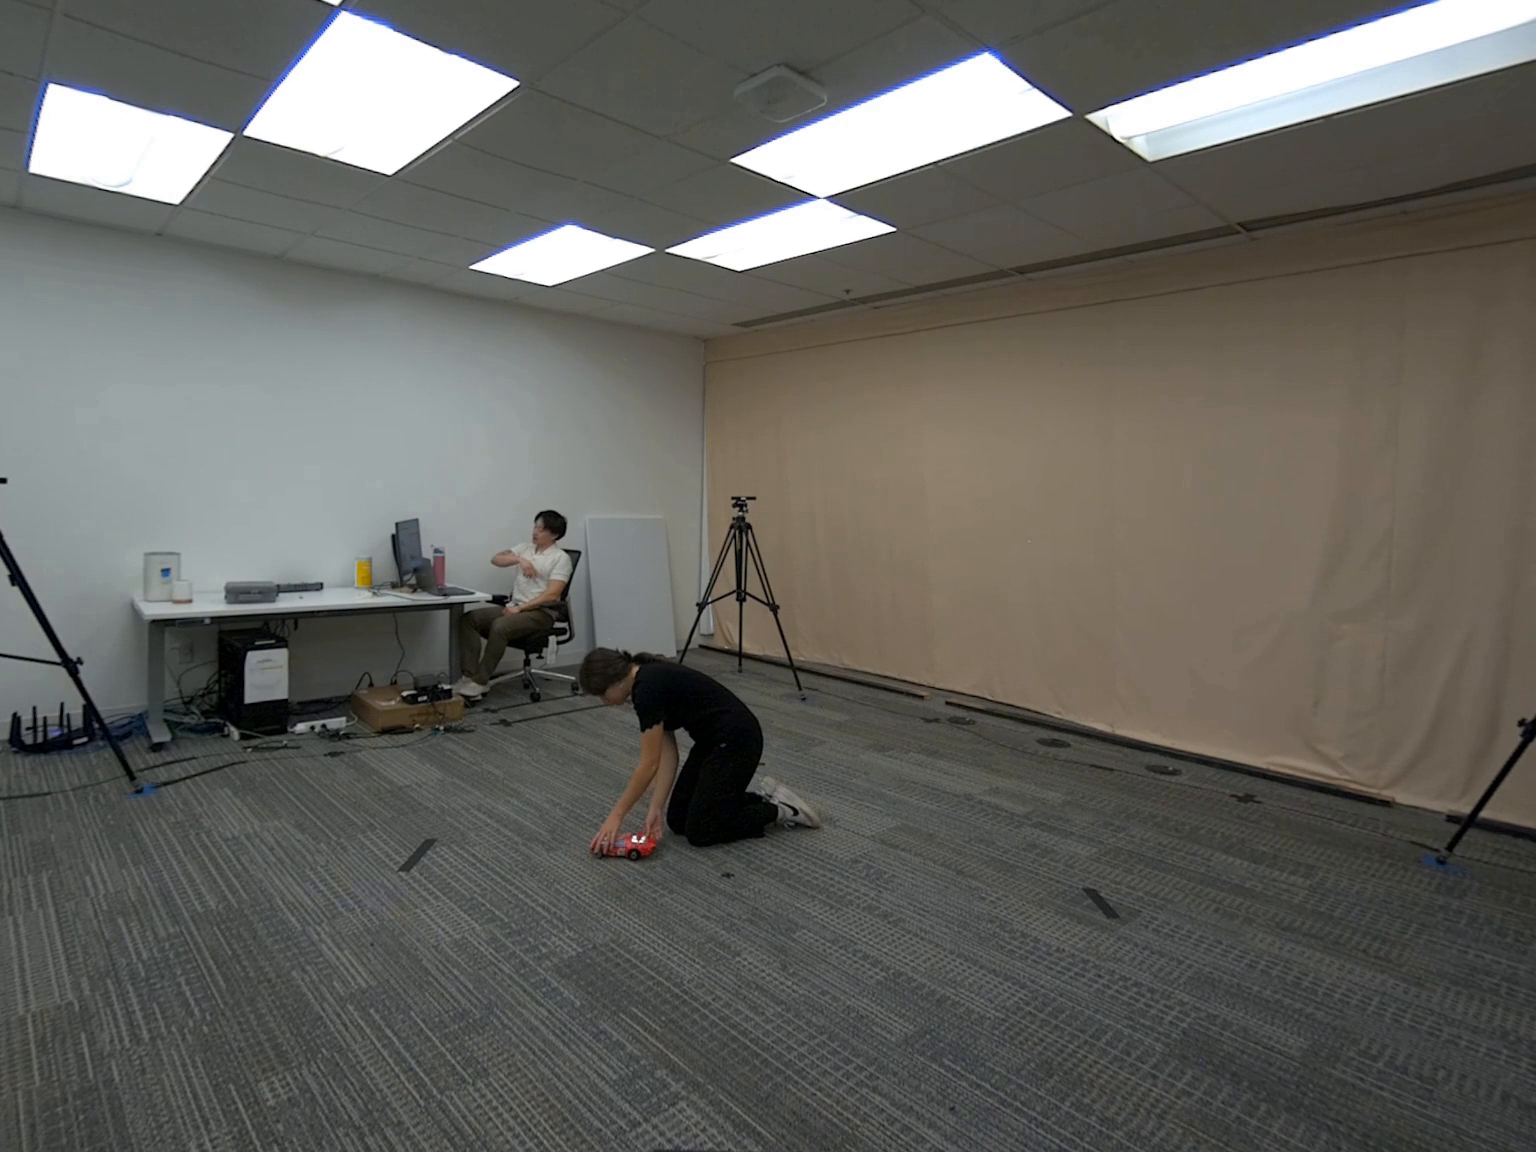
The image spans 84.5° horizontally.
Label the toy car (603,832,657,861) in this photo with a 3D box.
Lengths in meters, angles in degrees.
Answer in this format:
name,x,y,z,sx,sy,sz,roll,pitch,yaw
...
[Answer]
name,x,y,z,sx,sy,sz,roll,pitch,yaw
toy car,-0.565,1.052,3.262,0.256,0.083,0.130,-10,4,7
